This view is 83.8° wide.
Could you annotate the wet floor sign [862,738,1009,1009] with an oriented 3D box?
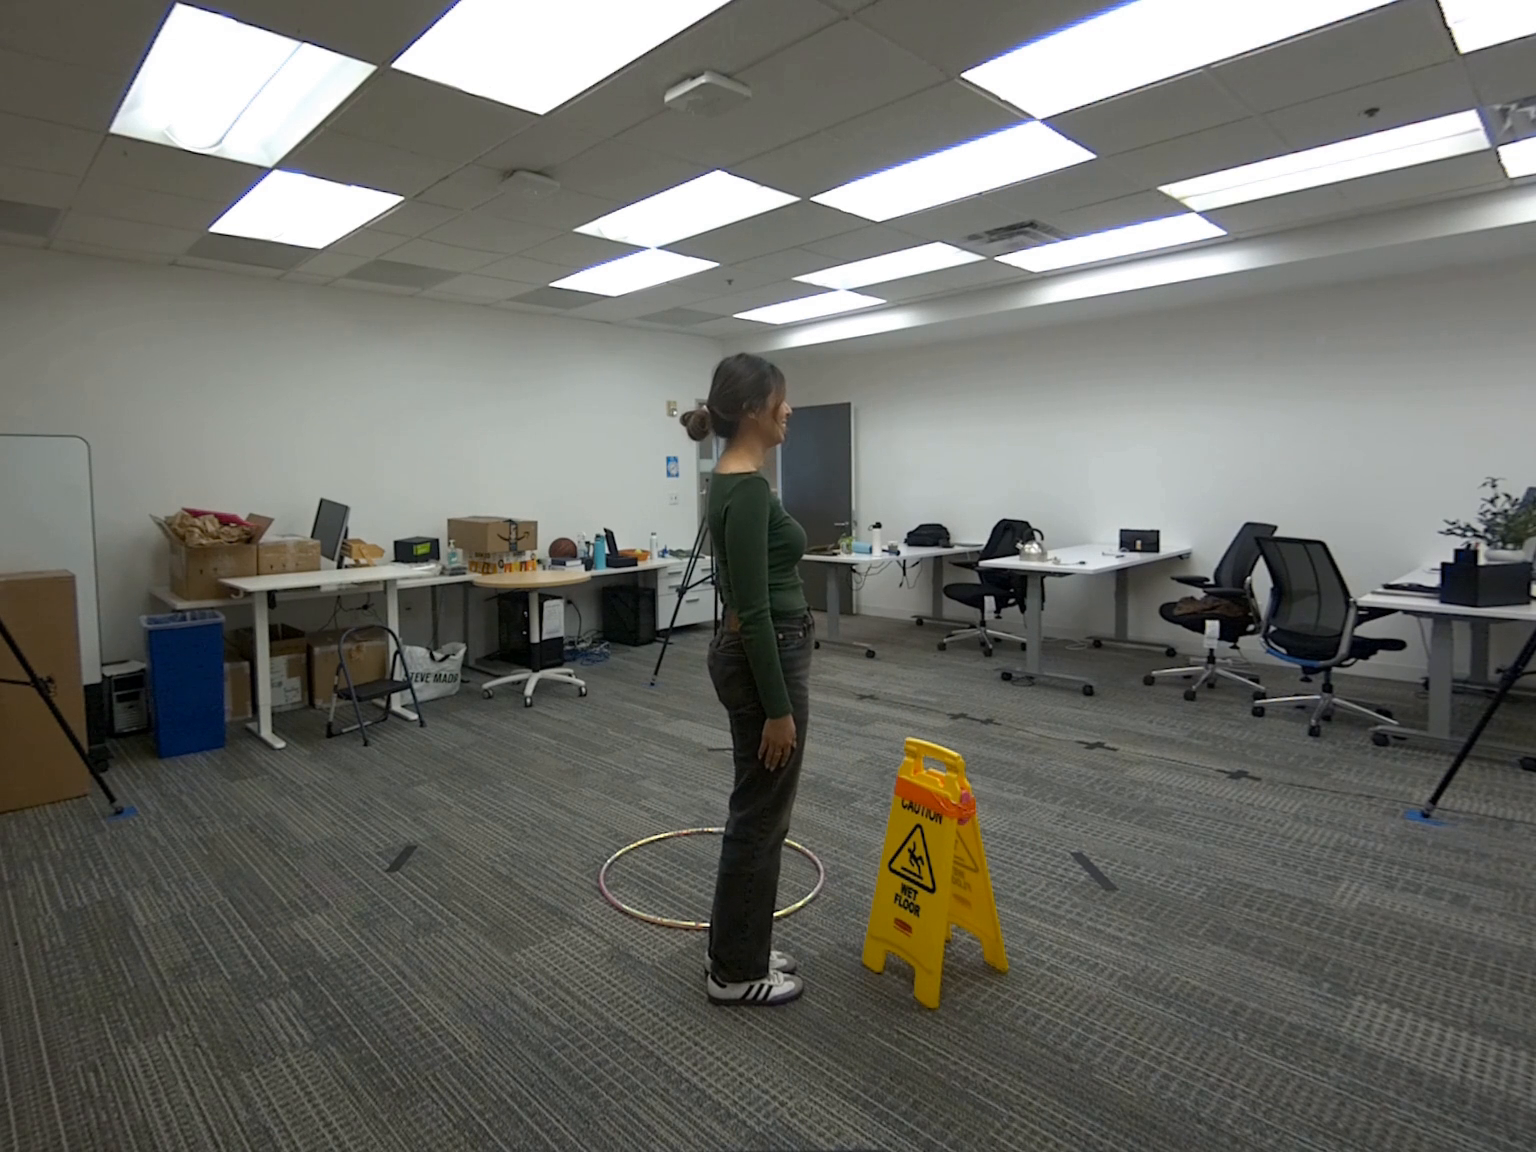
[{"bbox_3d":[0.468,0.793,2.408,0.282,0.644,0.290,-4,5,-36],"label":"wet floor sign"}]
